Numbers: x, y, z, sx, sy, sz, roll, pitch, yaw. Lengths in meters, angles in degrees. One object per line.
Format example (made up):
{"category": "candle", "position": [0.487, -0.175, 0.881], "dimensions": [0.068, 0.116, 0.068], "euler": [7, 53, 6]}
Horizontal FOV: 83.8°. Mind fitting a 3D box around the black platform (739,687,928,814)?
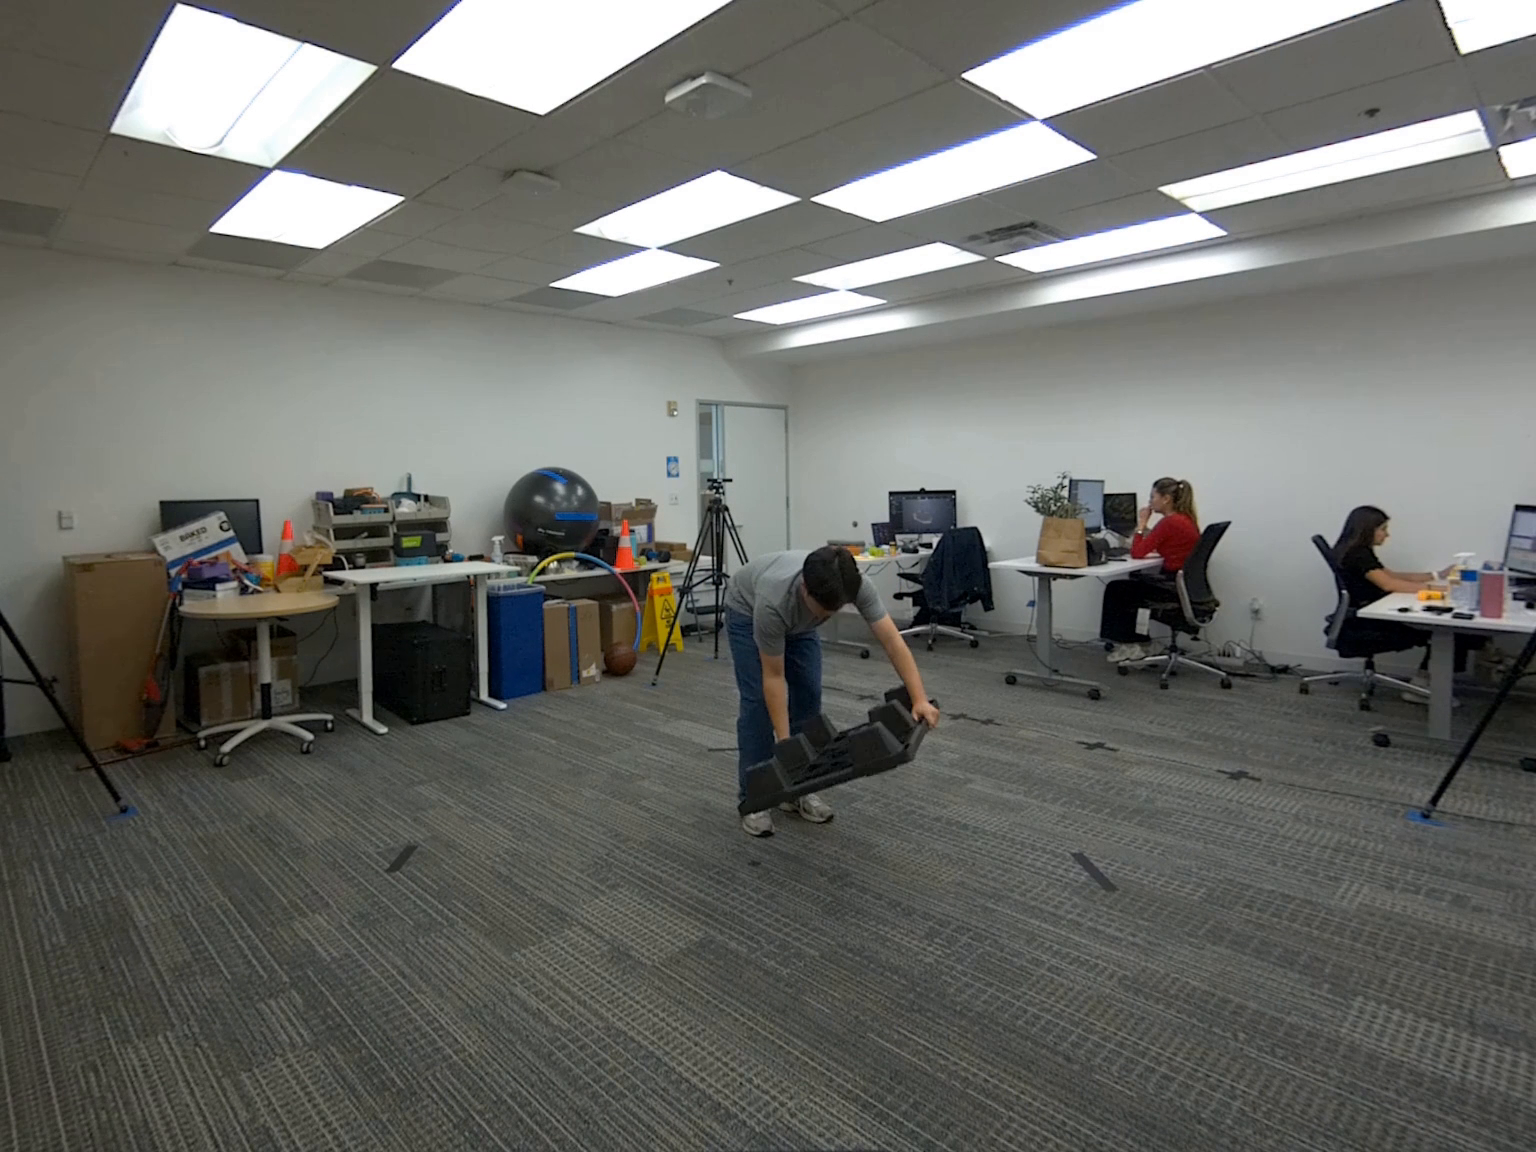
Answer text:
{"category": "black platform", "position": [0.269, 0.589, 3.029], "dimensions": [0.610, 0.144, 0.793], "euler": [-24, -4, 18]}
